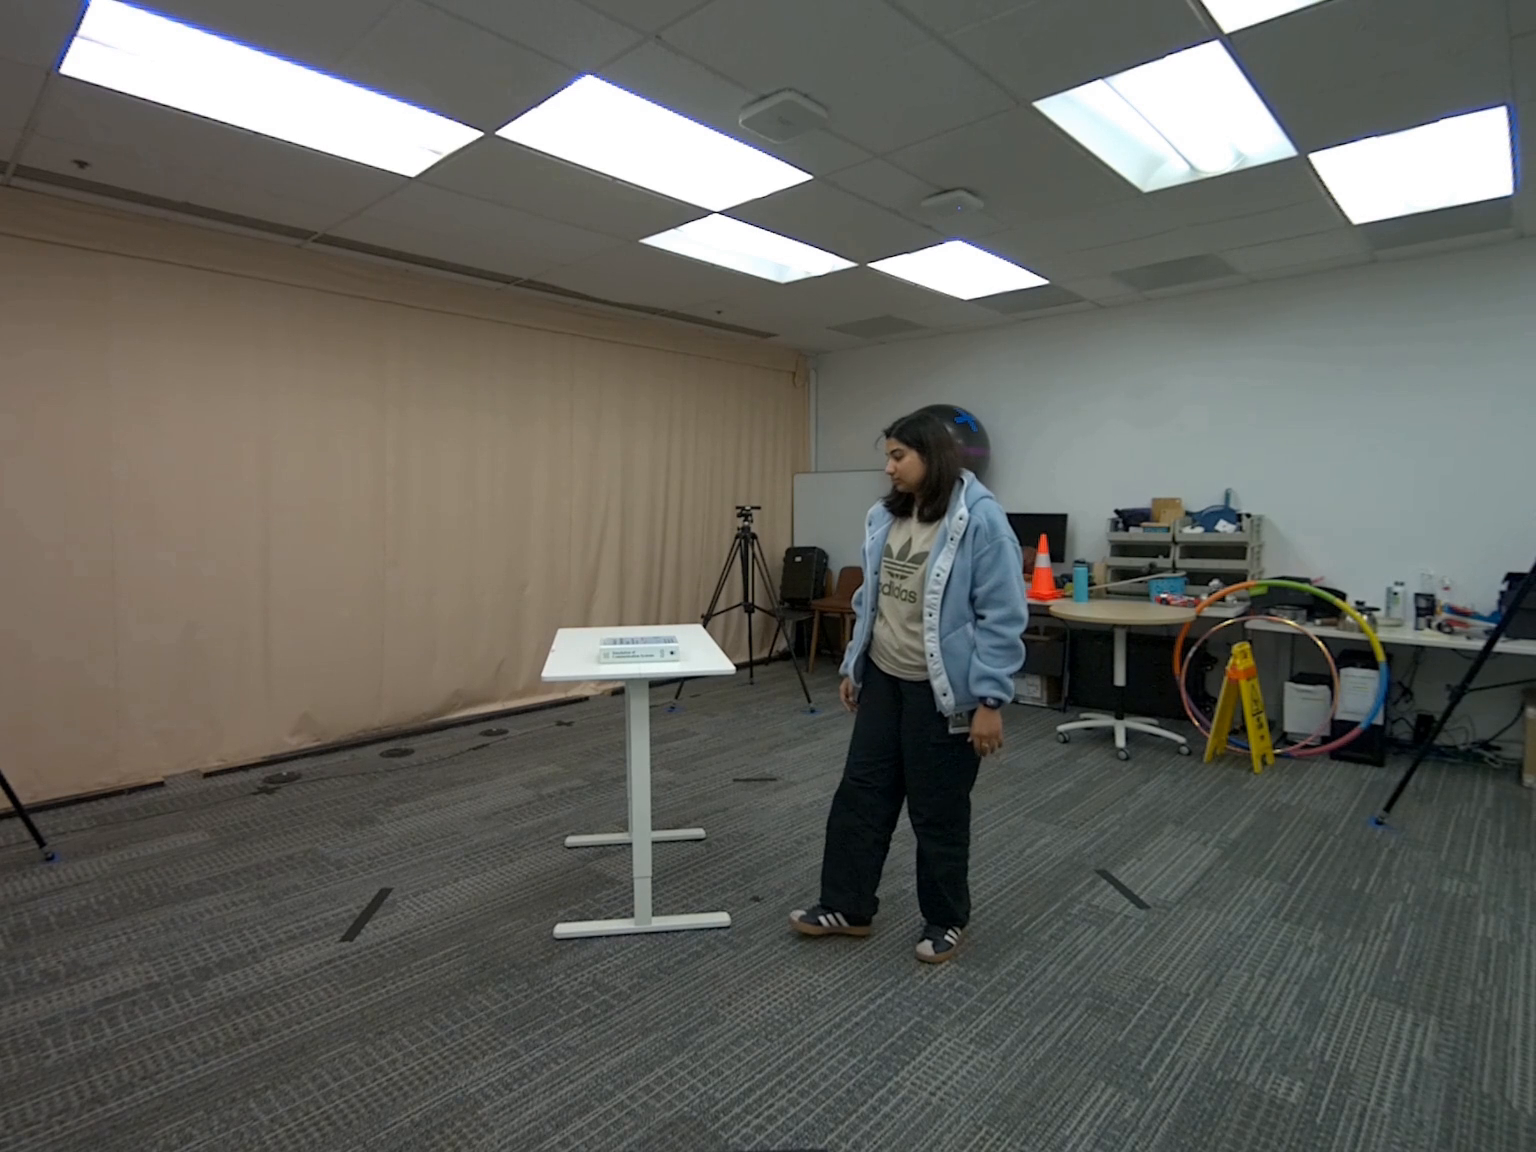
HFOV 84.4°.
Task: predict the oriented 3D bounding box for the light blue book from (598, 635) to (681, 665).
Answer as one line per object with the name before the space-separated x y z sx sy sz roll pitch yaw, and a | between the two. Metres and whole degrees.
light blue book | -0.439 0.253 2.846 0.259 0.059 0.193 -1 5 -6
